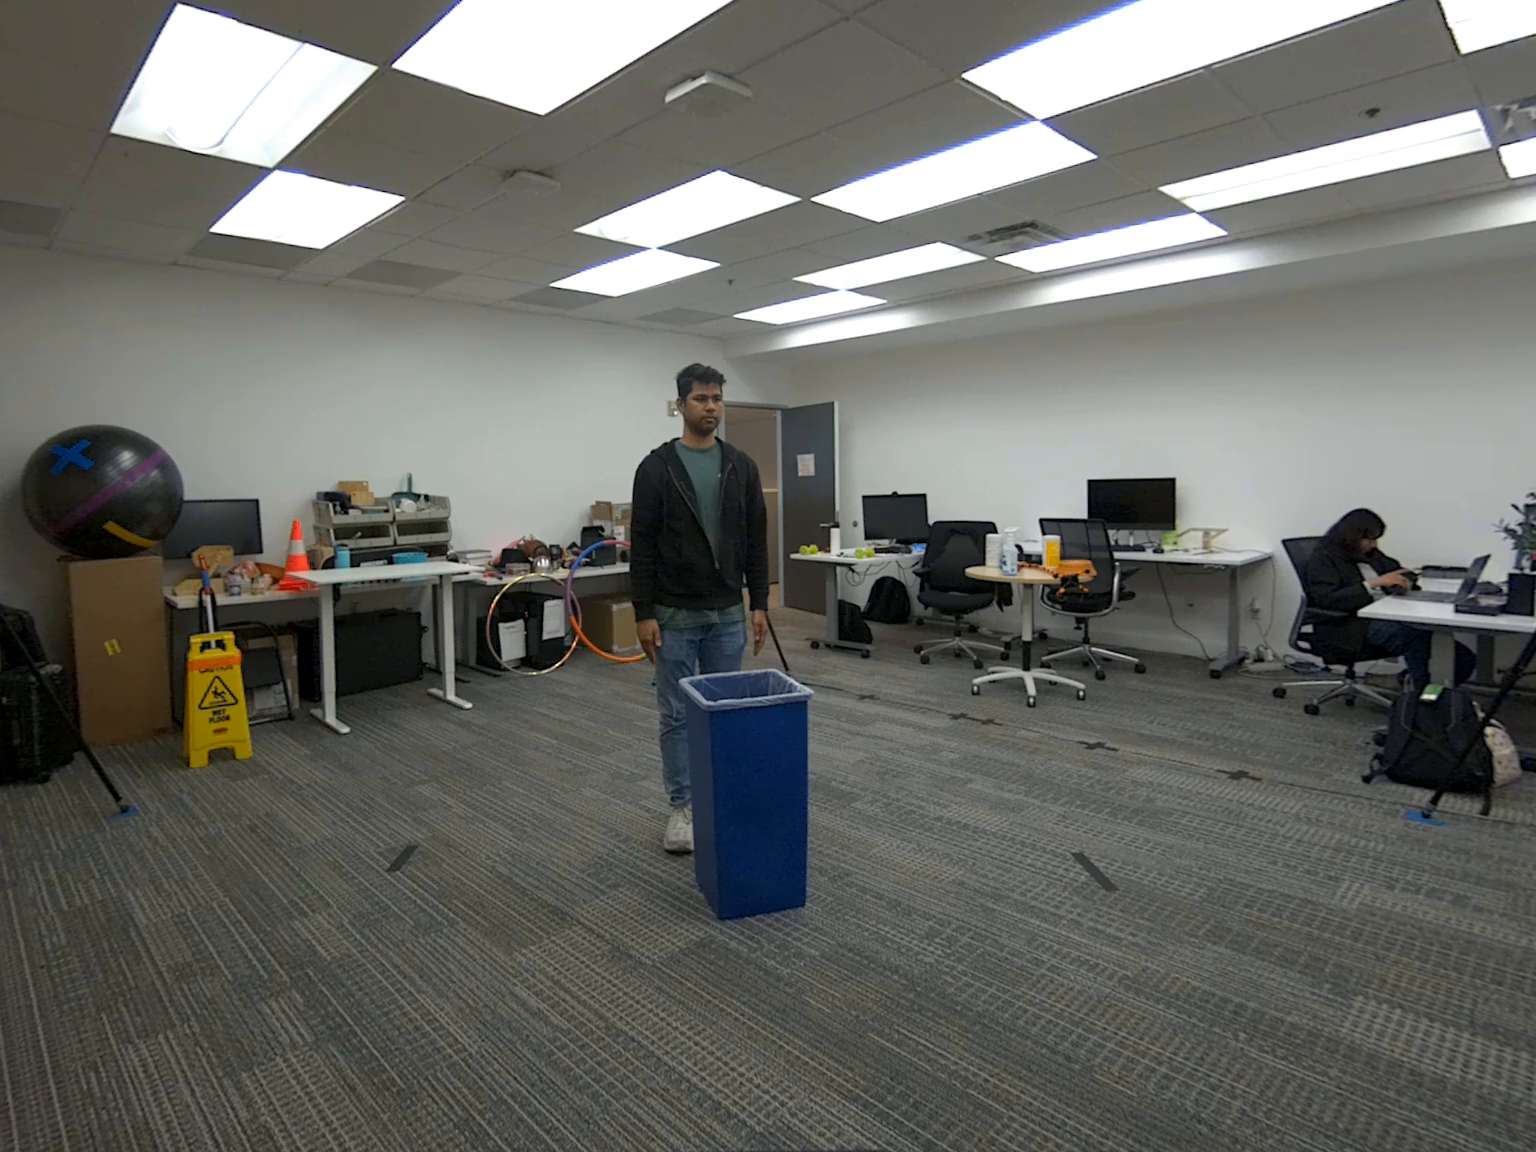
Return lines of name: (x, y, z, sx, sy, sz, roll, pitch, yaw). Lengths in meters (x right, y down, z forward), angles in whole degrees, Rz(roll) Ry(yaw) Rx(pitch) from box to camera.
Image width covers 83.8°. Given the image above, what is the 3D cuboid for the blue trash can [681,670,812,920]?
blue trash can: (-0.072, 0.713, 2.859, 0.368, 0.711, 0.386, -2, 4, -19)
